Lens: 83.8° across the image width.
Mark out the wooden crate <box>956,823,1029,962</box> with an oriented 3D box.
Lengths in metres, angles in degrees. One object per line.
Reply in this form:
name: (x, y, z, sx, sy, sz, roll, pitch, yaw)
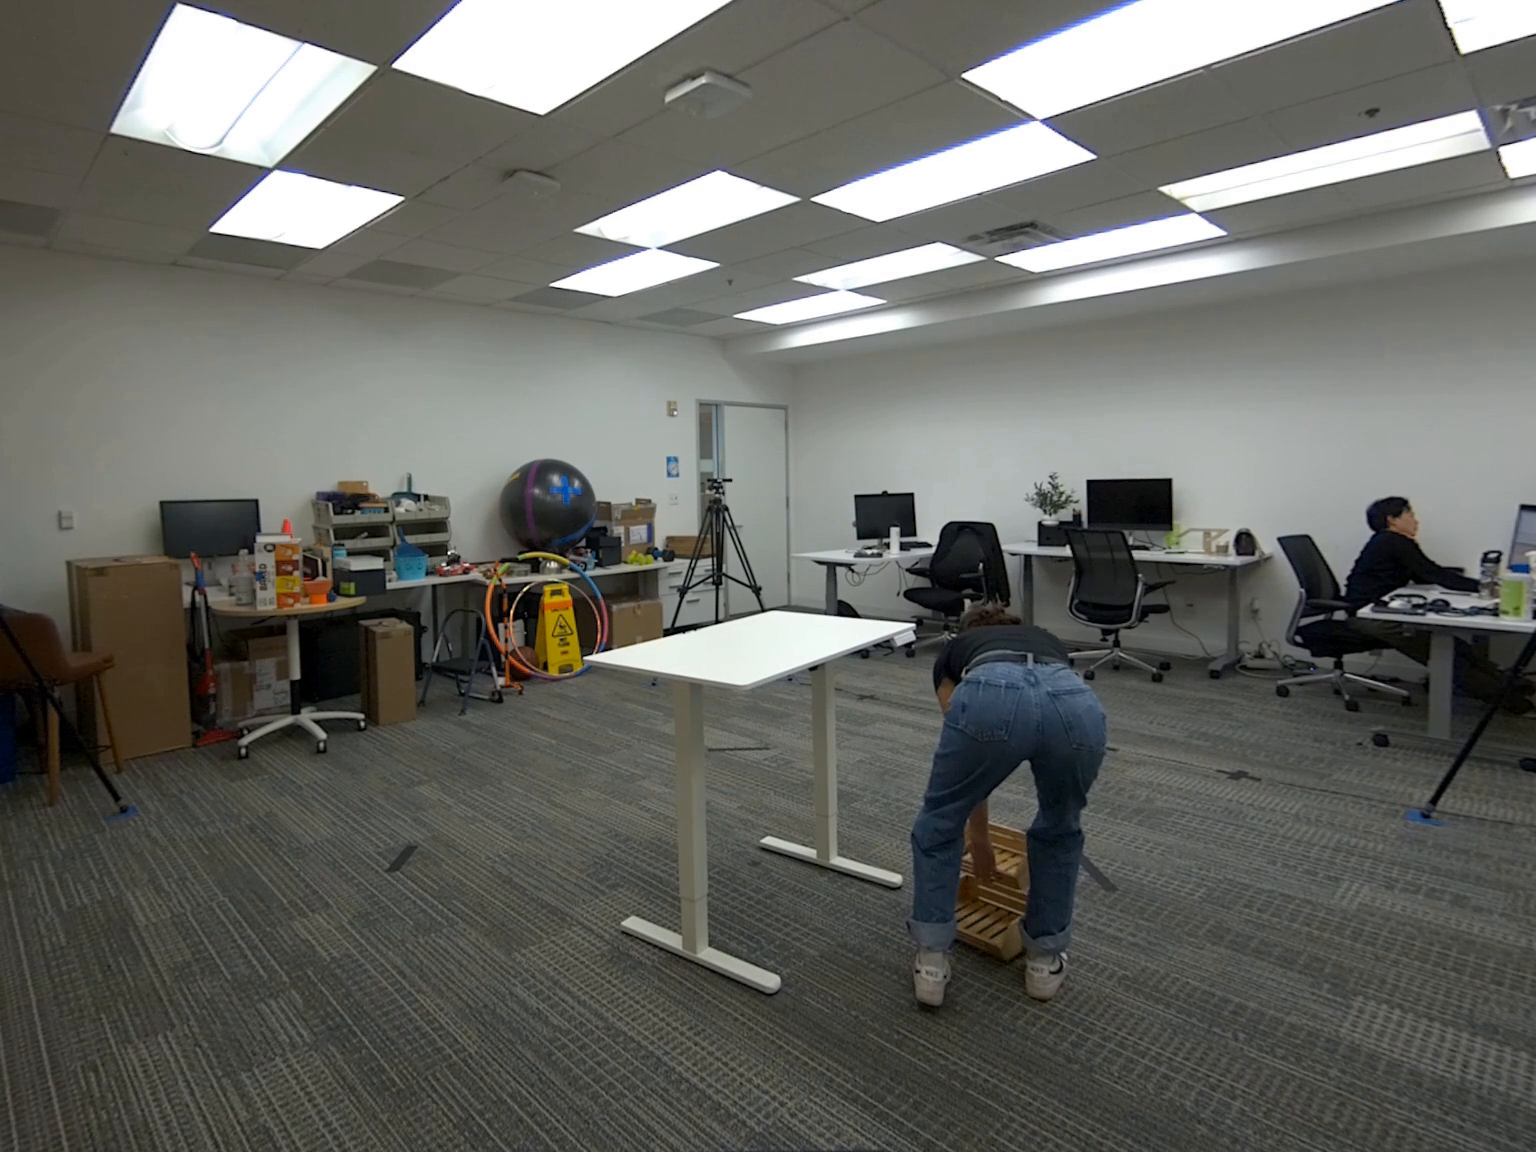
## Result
wooden crate: (0.679, 0.941, 2.611, 0.294, 0.273, 0.333, -5, 3, -38)
